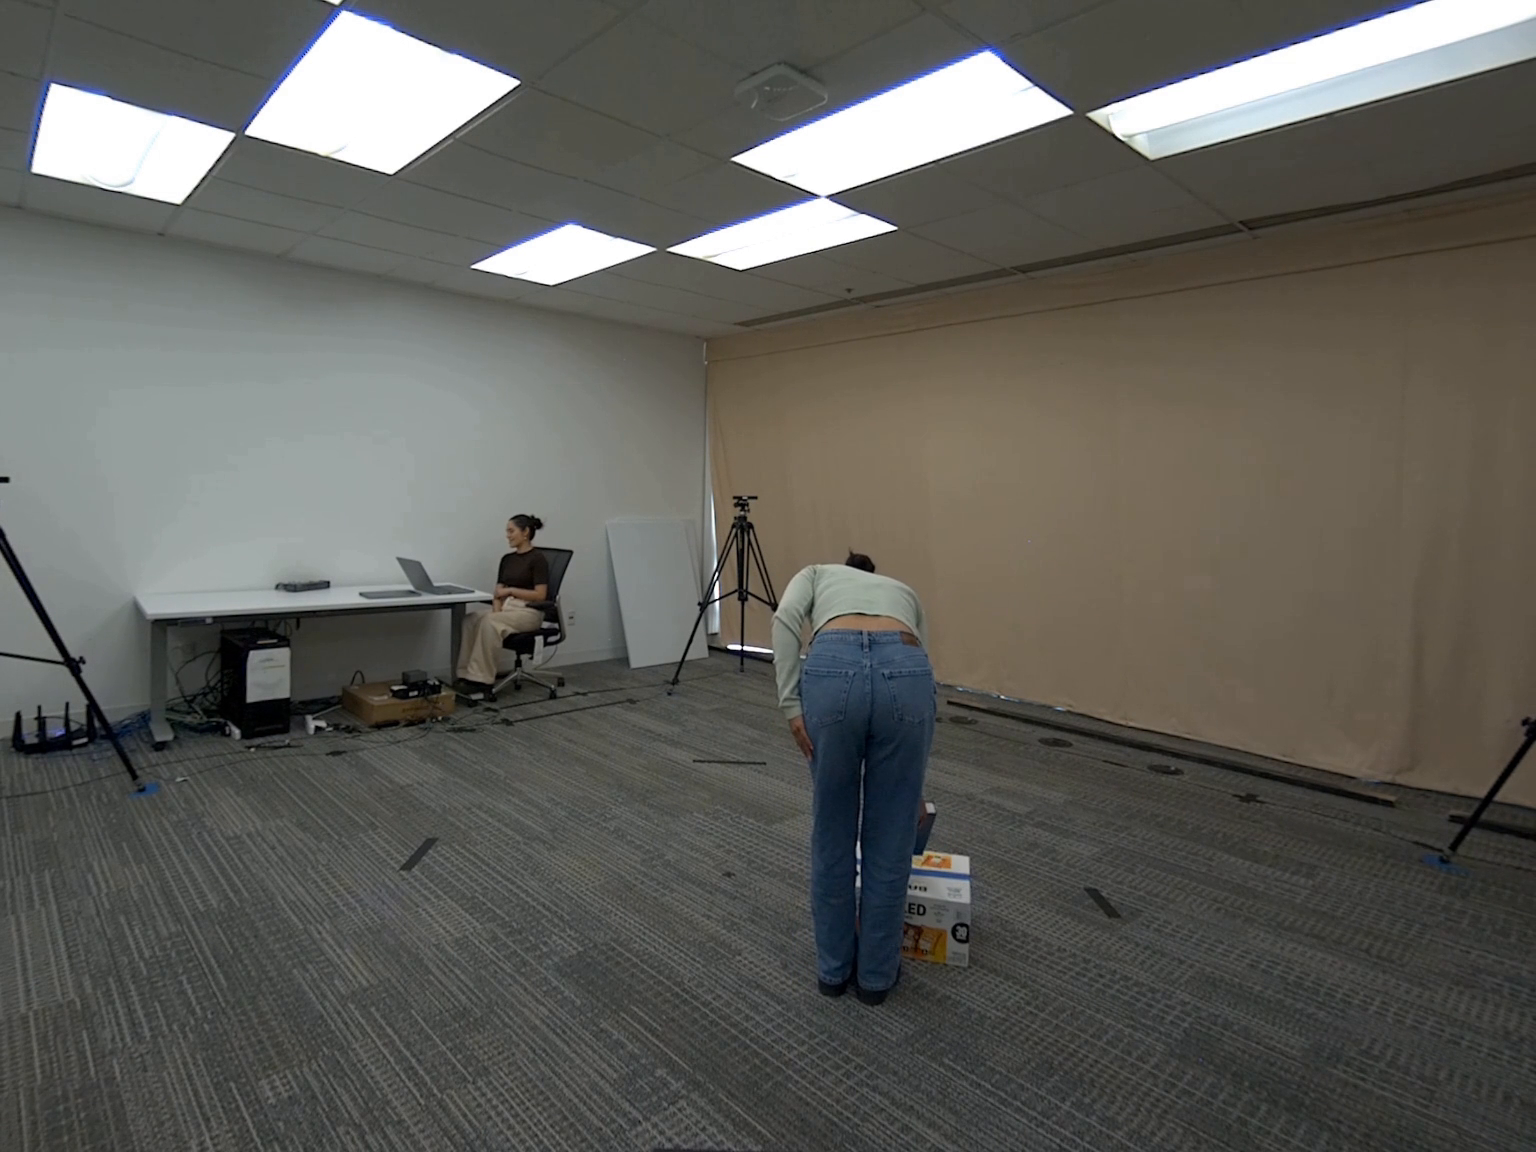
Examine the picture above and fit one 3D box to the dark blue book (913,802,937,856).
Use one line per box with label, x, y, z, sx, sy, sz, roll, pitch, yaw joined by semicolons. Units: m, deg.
dark blue book;0.431;0.803;2.658;0.163;0.240;0.046;2;36;-1
